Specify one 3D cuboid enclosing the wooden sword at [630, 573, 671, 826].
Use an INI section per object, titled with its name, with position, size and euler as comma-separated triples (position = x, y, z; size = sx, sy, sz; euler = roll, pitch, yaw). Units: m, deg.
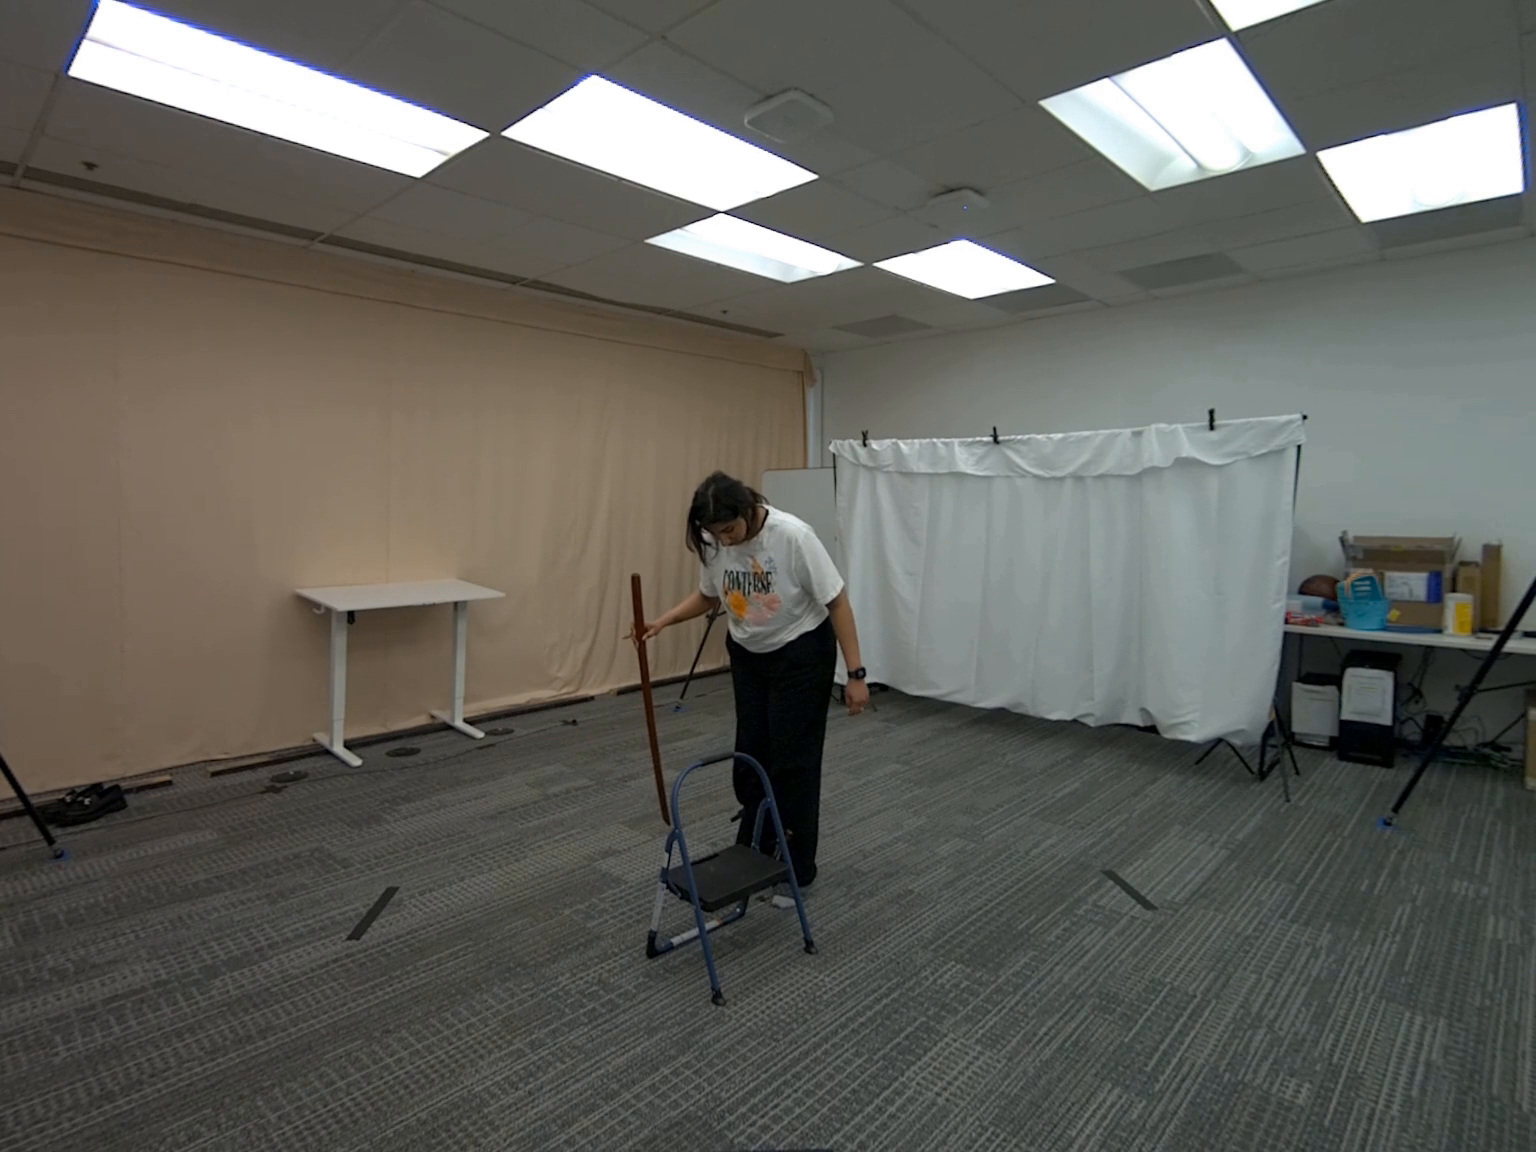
[wooden sword]
position = -0.428, 0.477, 3.052
size = 0.052, 1.011, 0.024
euler = 4, 21, 25
